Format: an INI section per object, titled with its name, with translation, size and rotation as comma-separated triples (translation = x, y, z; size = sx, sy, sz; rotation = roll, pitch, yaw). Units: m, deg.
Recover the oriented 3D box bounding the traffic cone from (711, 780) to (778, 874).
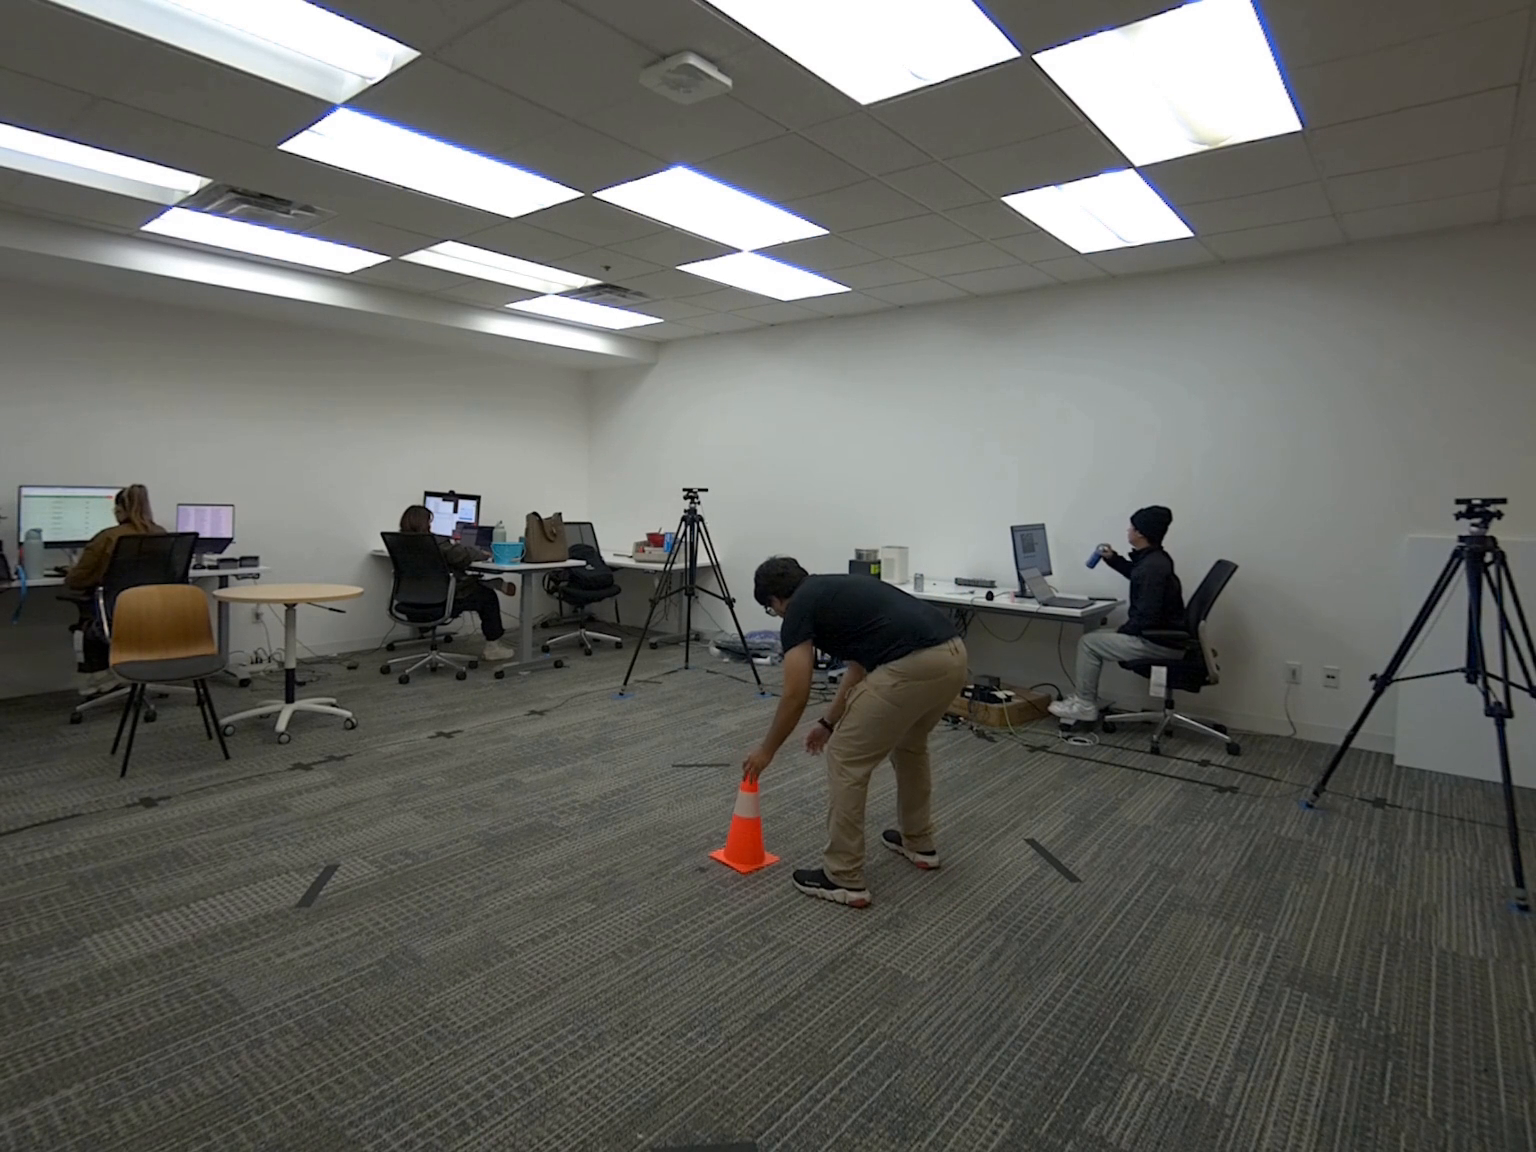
[traffic cone]
translation = -0.082, 0.876, 3.207
size = 0.197, 0.382, 0.212
rotation = 1, 5, -42
